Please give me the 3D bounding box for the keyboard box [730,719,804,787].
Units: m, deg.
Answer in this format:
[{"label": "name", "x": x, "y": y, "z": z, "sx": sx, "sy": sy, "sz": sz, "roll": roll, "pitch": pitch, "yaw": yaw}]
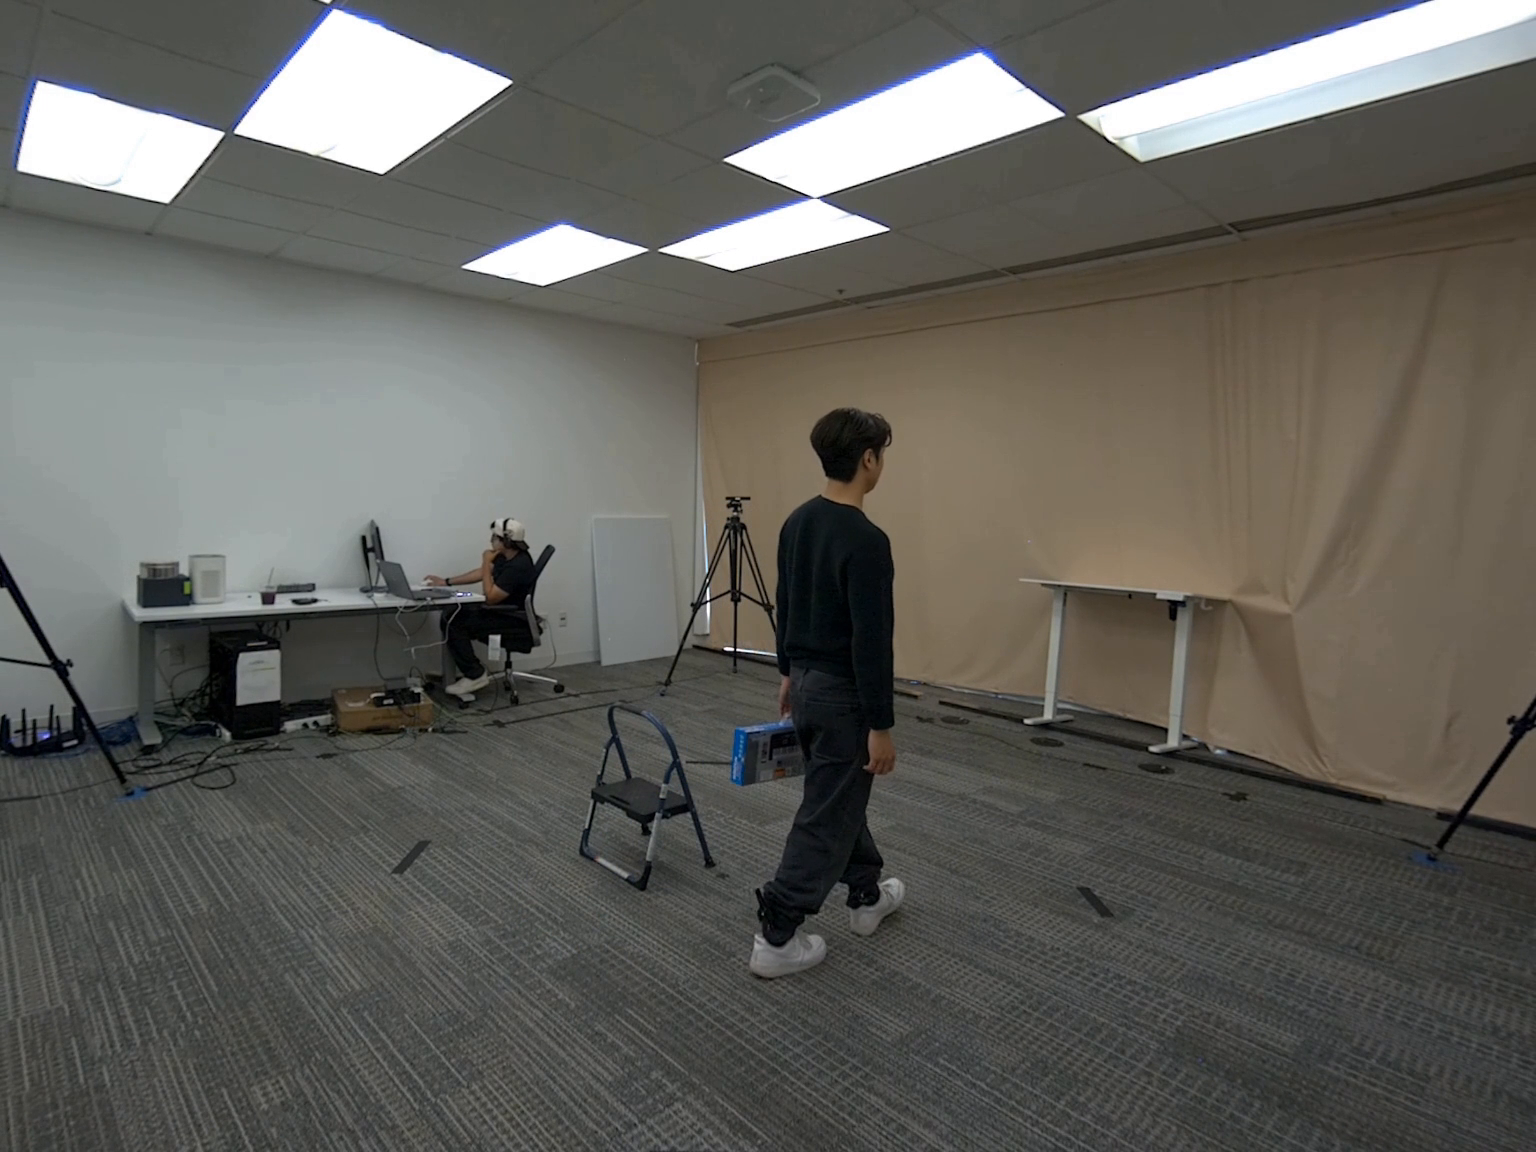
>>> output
[{"label": "keyboard box", "x": 0.070, "y": 0.572, "z": 2.777, "sx": 0.426, "sy": 0.175, "sz": 0.060, "roll": 1, "pitch": 4, "yaw": -40}]
